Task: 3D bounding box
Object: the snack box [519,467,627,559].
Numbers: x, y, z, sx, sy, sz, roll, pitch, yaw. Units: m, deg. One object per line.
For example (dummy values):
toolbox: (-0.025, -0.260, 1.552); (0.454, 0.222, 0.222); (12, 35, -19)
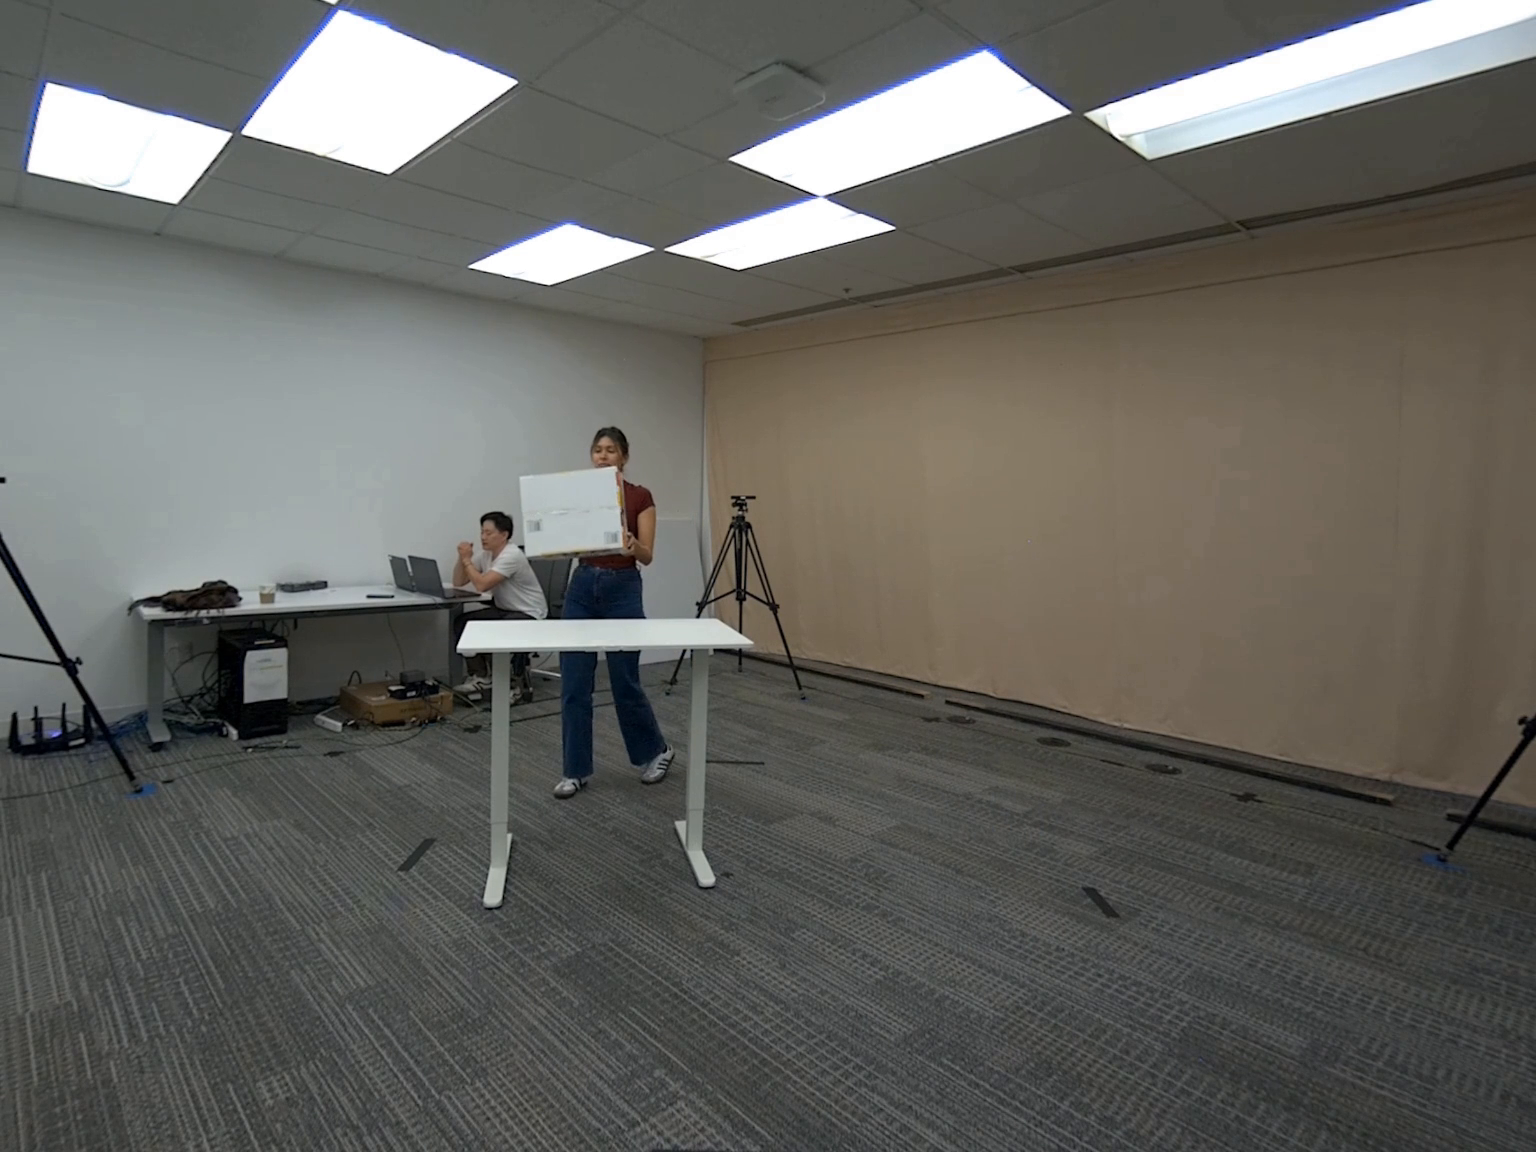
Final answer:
snack box: (-0.813, -0.253, 3.528); (0.404, 0.342, 0.204); (-6, -7, -2)
